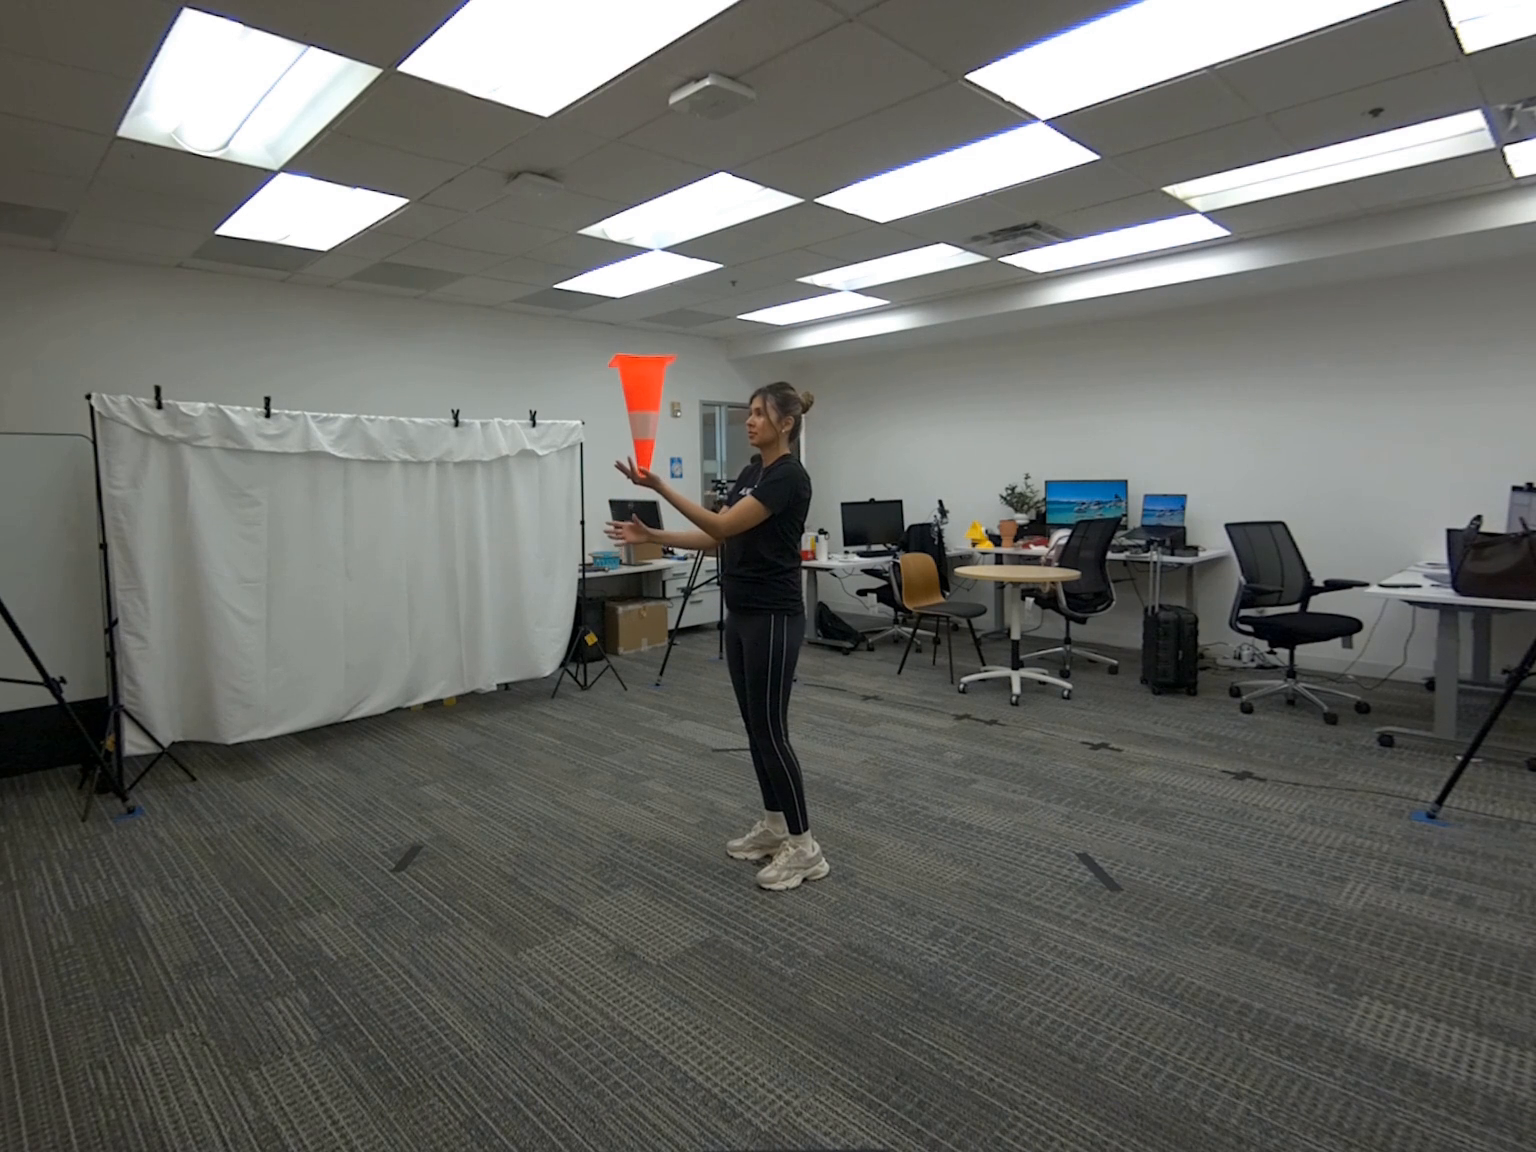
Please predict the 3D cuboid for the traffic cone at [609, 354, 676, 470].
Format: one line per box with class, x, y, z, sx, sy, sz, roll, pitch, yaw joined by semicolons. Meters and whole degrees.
traffic cone;-0.410;-0.507;2.773;0.201;0.383;0.207;-1;2;-21
